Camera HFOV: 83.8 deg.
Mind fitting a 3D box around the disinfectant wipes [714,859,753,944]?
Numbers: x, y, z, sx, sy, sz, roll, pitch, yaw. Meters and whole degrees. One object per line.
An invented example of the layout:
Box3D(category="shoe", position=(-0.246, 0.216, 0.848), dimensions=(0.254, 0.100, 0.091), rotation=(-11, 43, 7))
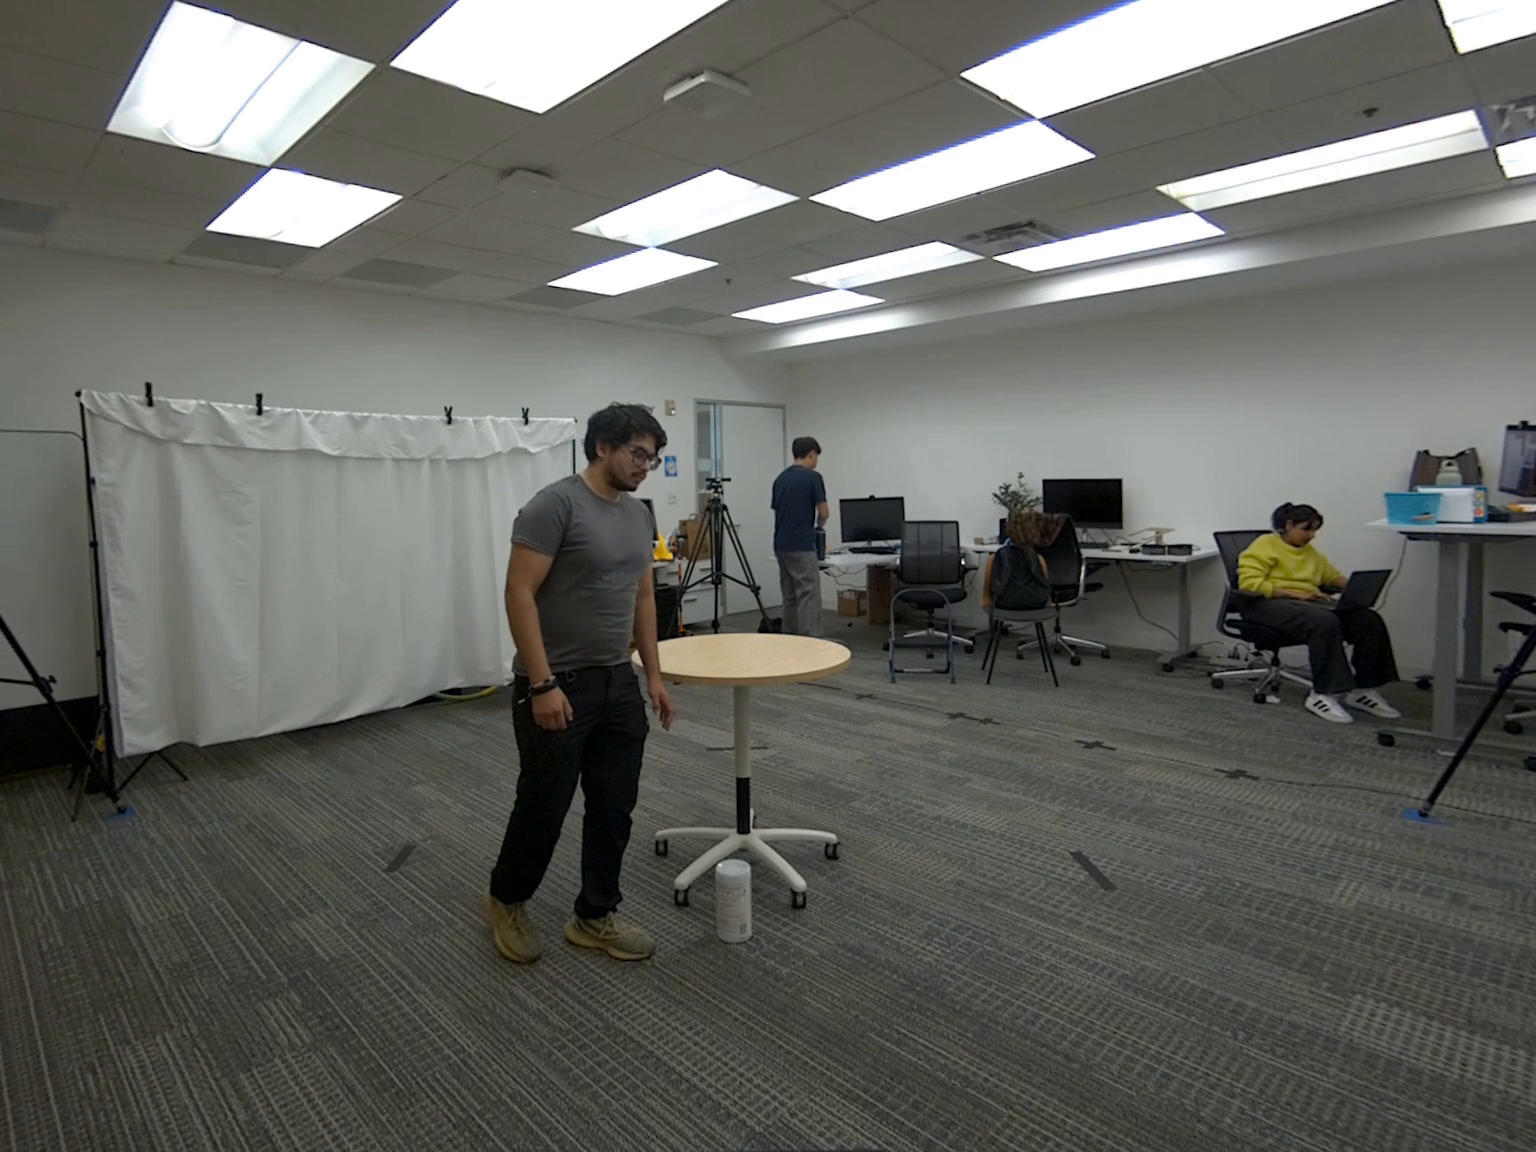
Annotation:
Box3D(category="disinfectant wipes", position=(-0.106, 0.990, 2.618), dimensions=(0.118, 0.216, 0.118), rotation=(-2, 5, -1))
